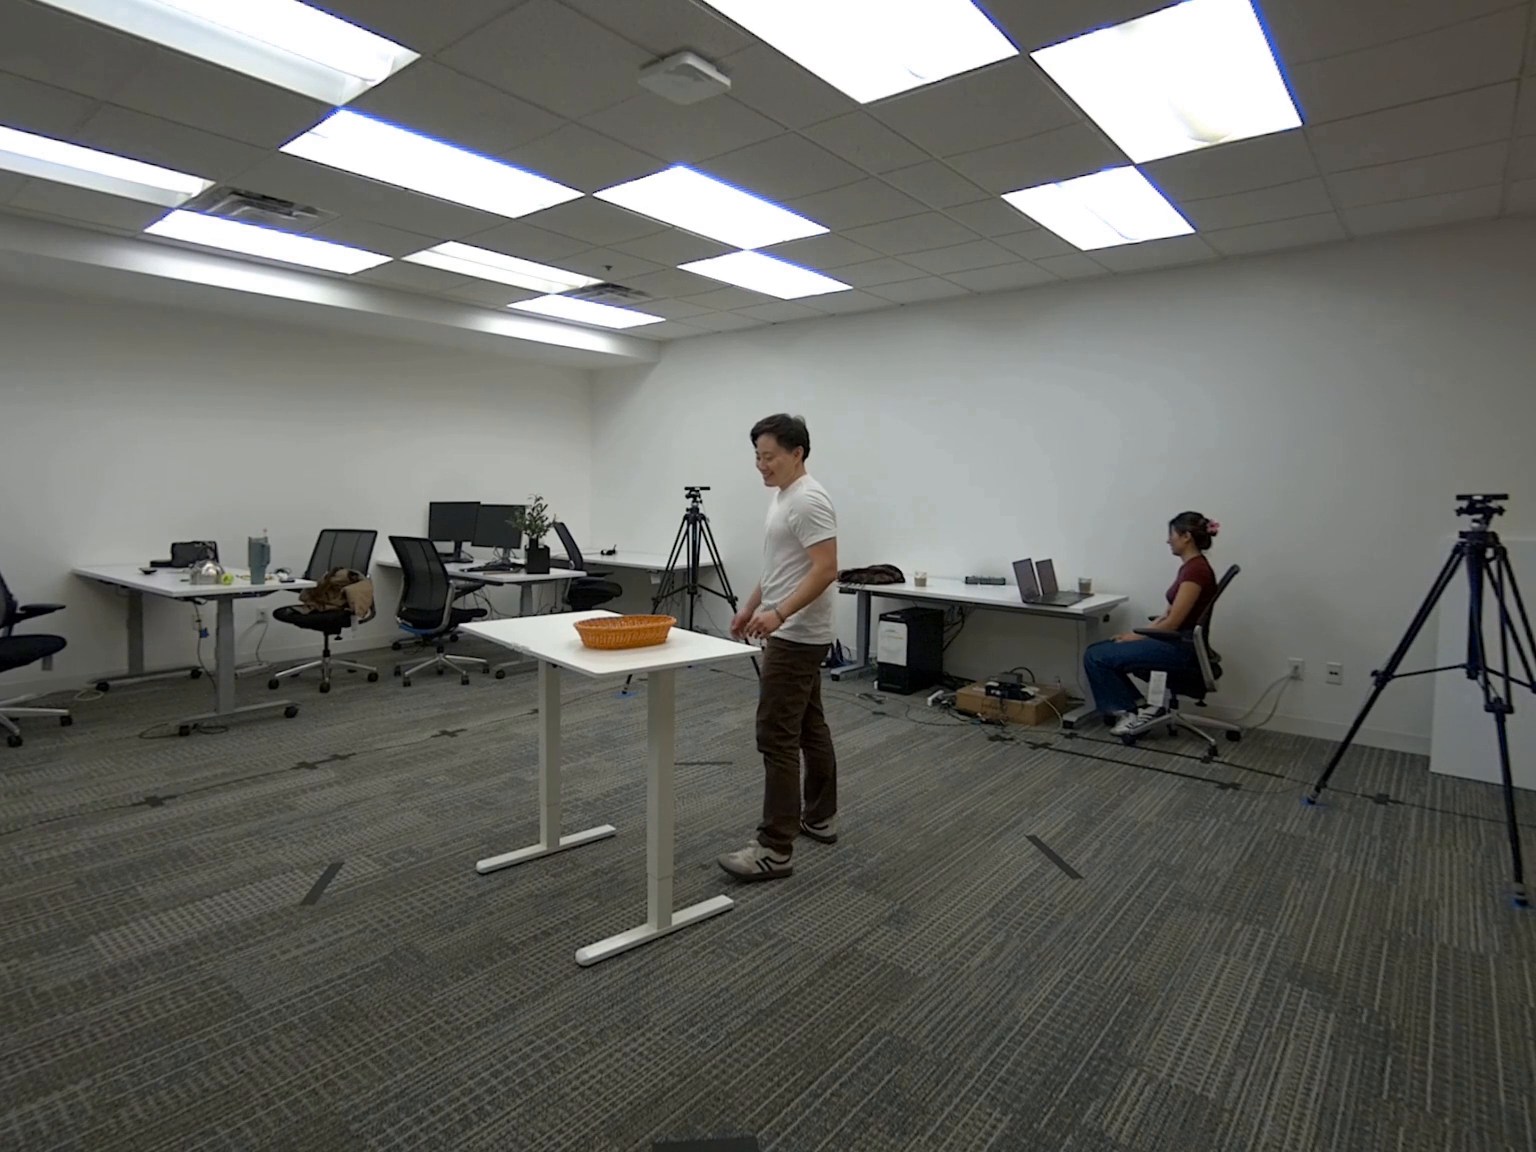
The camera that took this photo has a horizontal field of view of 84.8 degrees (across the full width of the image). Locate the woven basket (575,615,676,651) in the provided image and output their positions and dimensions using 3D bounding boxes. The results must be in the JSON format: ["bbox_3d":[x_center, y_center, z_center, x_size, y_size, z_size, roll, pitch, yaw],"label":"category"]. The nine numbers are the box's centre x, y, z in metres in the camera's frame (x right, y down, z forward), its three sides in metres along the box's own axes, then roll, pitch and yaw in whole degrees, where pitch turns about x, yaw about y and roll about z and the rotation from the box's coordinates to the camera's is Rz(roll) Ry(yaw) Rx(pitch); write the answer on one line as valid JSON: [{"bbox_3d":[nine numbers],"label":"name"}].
[{"bbox_3d":[-0.486,0.187,2.758,0.340,0.073,0.261,-4,7,-37],"label":"woven basket"}]
